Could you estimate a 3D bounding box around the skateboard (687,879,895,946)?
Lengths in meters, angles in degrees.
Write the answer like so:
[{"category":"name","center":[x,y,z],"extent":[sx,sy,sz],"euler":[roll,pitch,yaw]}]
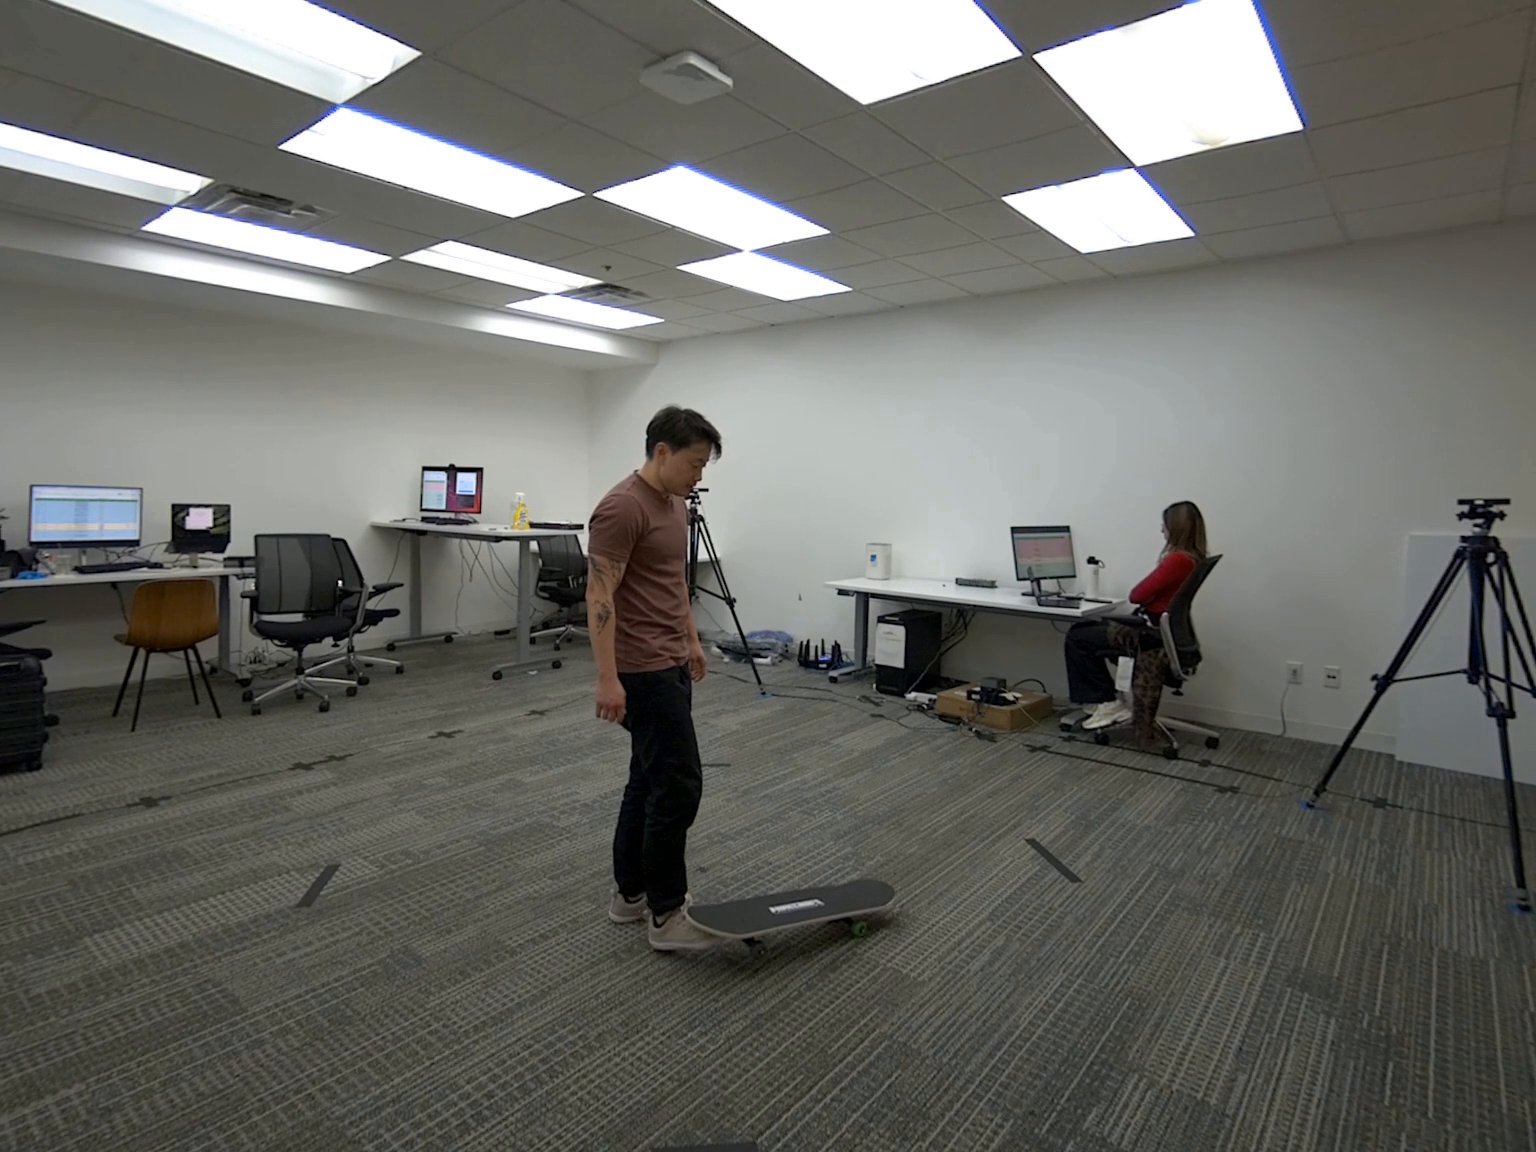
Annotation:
[{"category":"skateboard","center":[0.082,1.051,2.618],"extent":[0.760,0.110,0.200],"euler":[5,2,-35]}]
